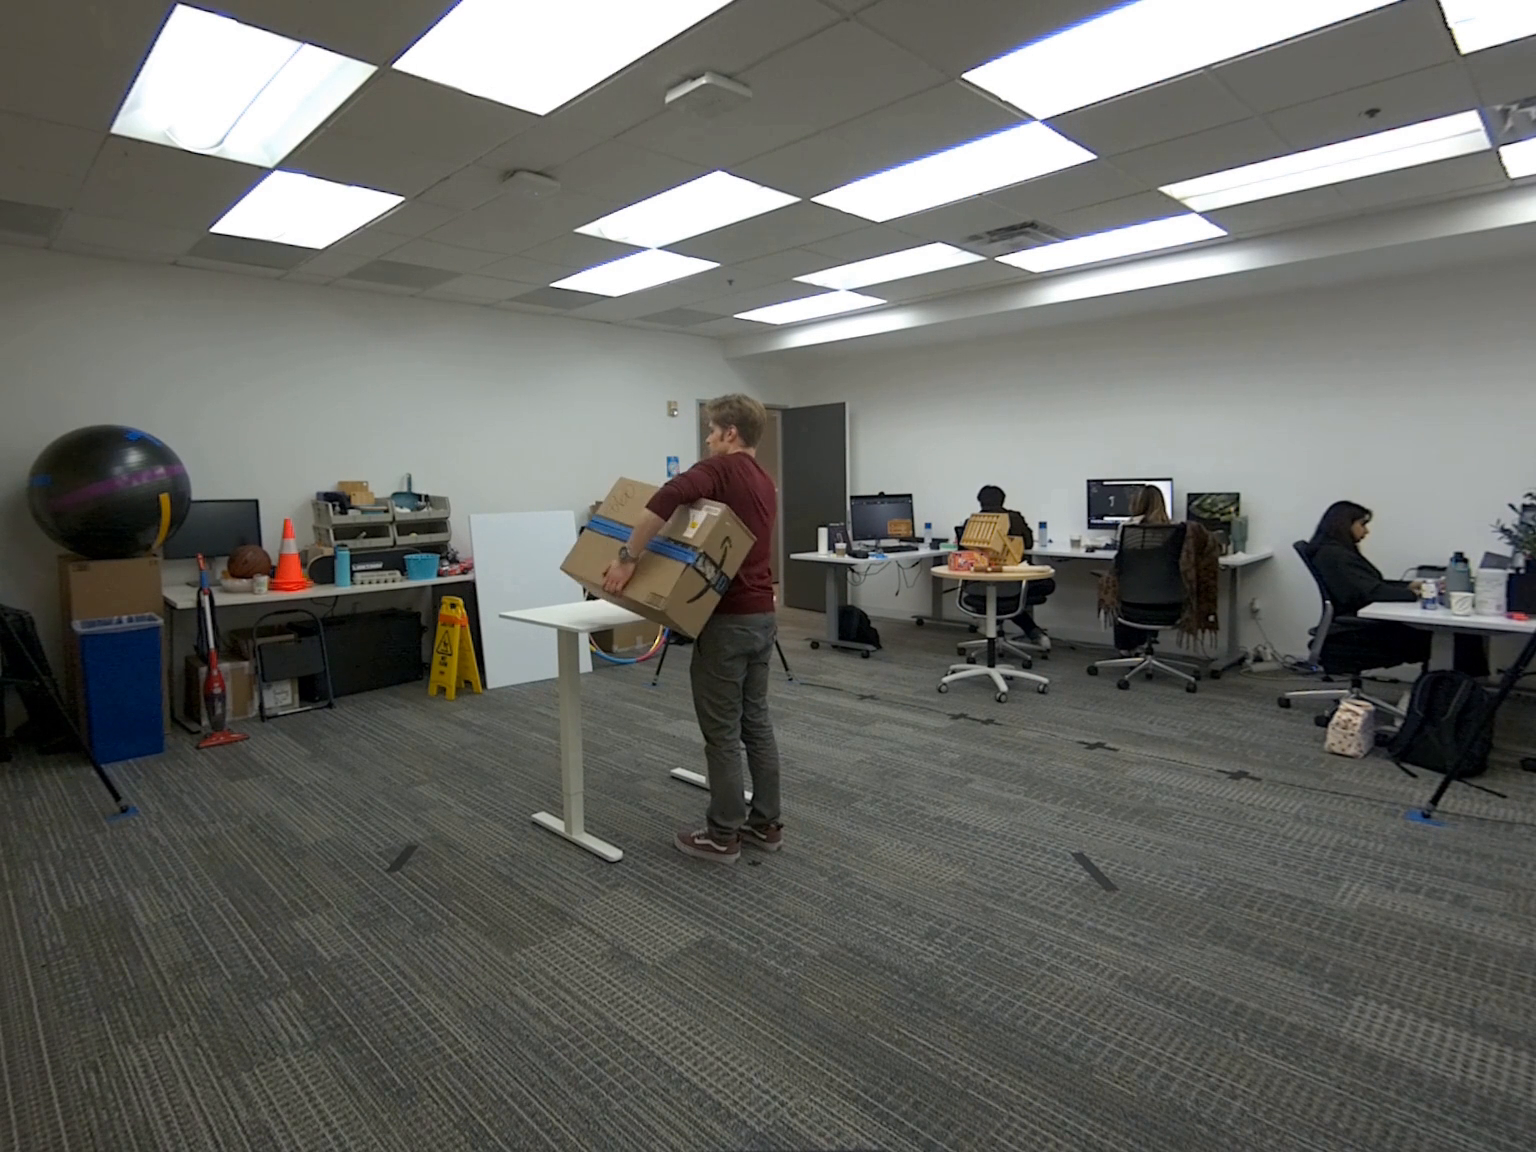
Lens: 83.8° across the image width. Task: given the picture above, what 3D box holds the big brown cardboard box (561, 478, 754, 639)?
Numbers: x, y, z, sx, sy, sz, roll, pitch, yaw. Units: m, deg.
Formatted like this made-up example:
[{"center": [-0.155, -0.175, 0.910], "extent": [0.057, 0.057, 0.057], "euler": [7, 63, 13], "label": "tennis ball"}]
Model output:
[{"center": [-0.387, -0.069, 3.024], "extent": [0.610, 0.419, 0.224], "euler": [17, -20, 41], "label": "big brown cardboard box"}]
